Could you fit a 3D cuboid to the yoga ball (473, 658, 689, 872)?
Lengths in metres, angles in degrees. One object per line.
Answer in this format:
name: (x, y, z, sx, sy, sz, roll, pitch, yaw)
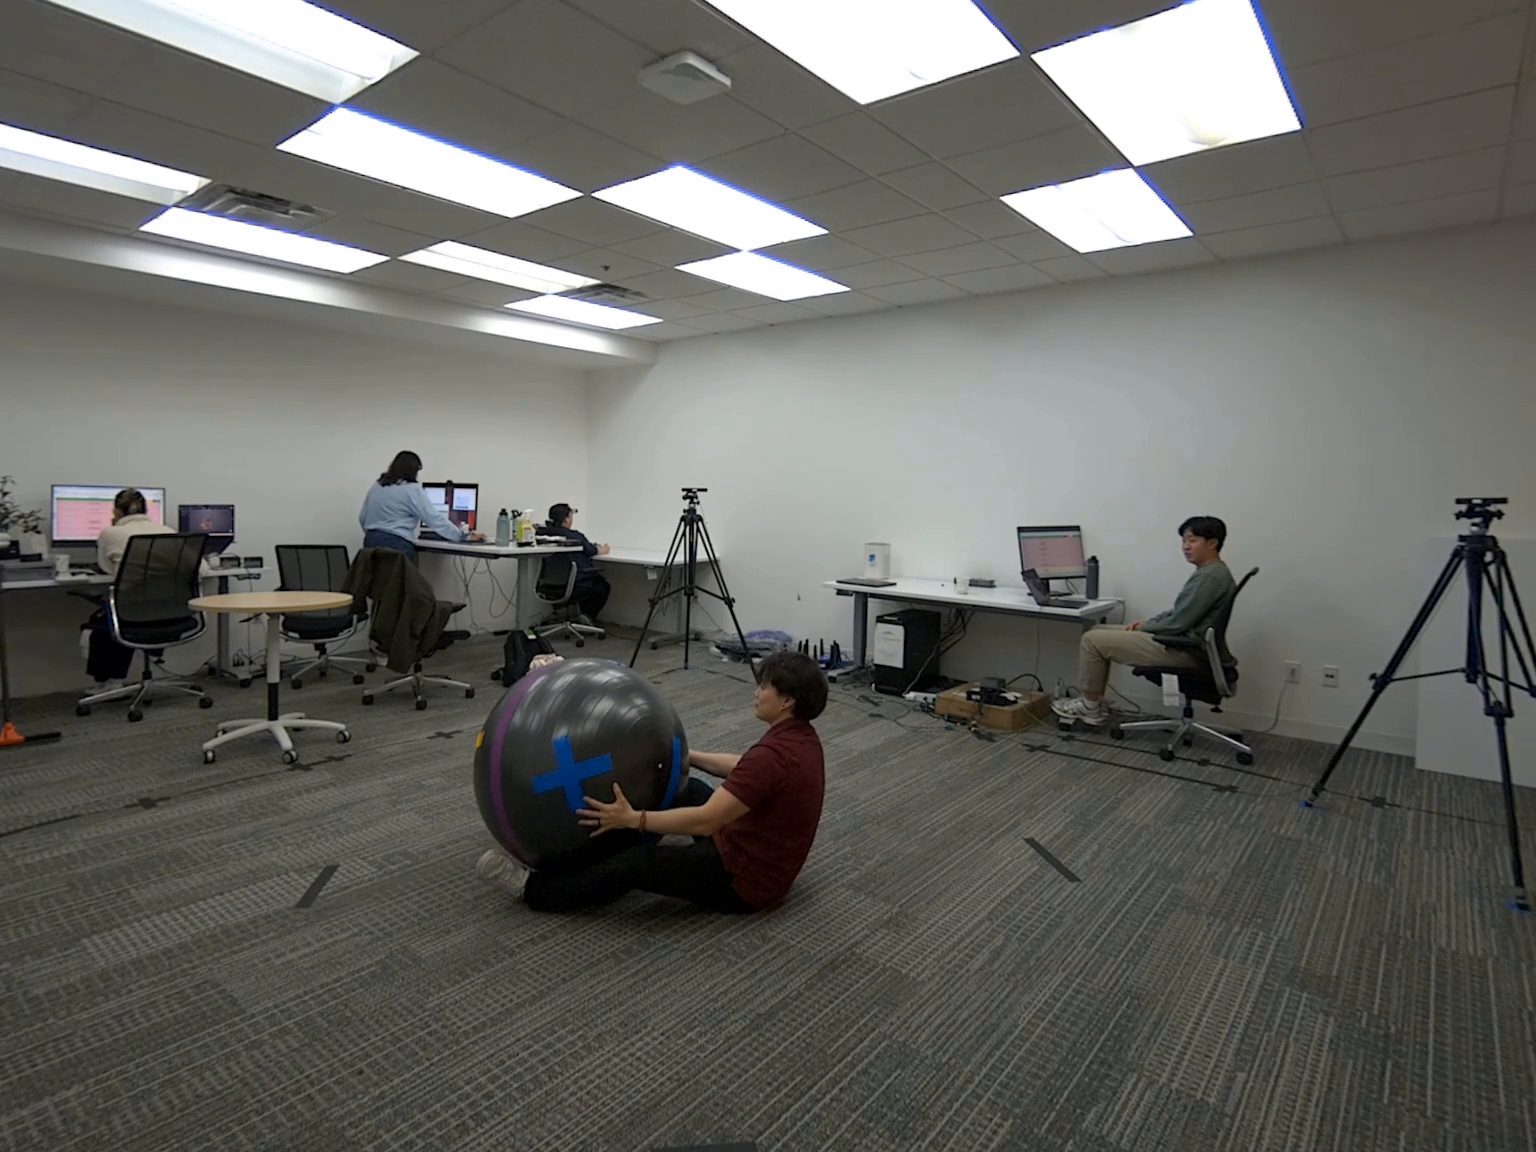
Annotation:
yoga ball: (-0.677, 0.677, 3.044, 0.757, 0.755, 0.762, 1, 4, -2)
